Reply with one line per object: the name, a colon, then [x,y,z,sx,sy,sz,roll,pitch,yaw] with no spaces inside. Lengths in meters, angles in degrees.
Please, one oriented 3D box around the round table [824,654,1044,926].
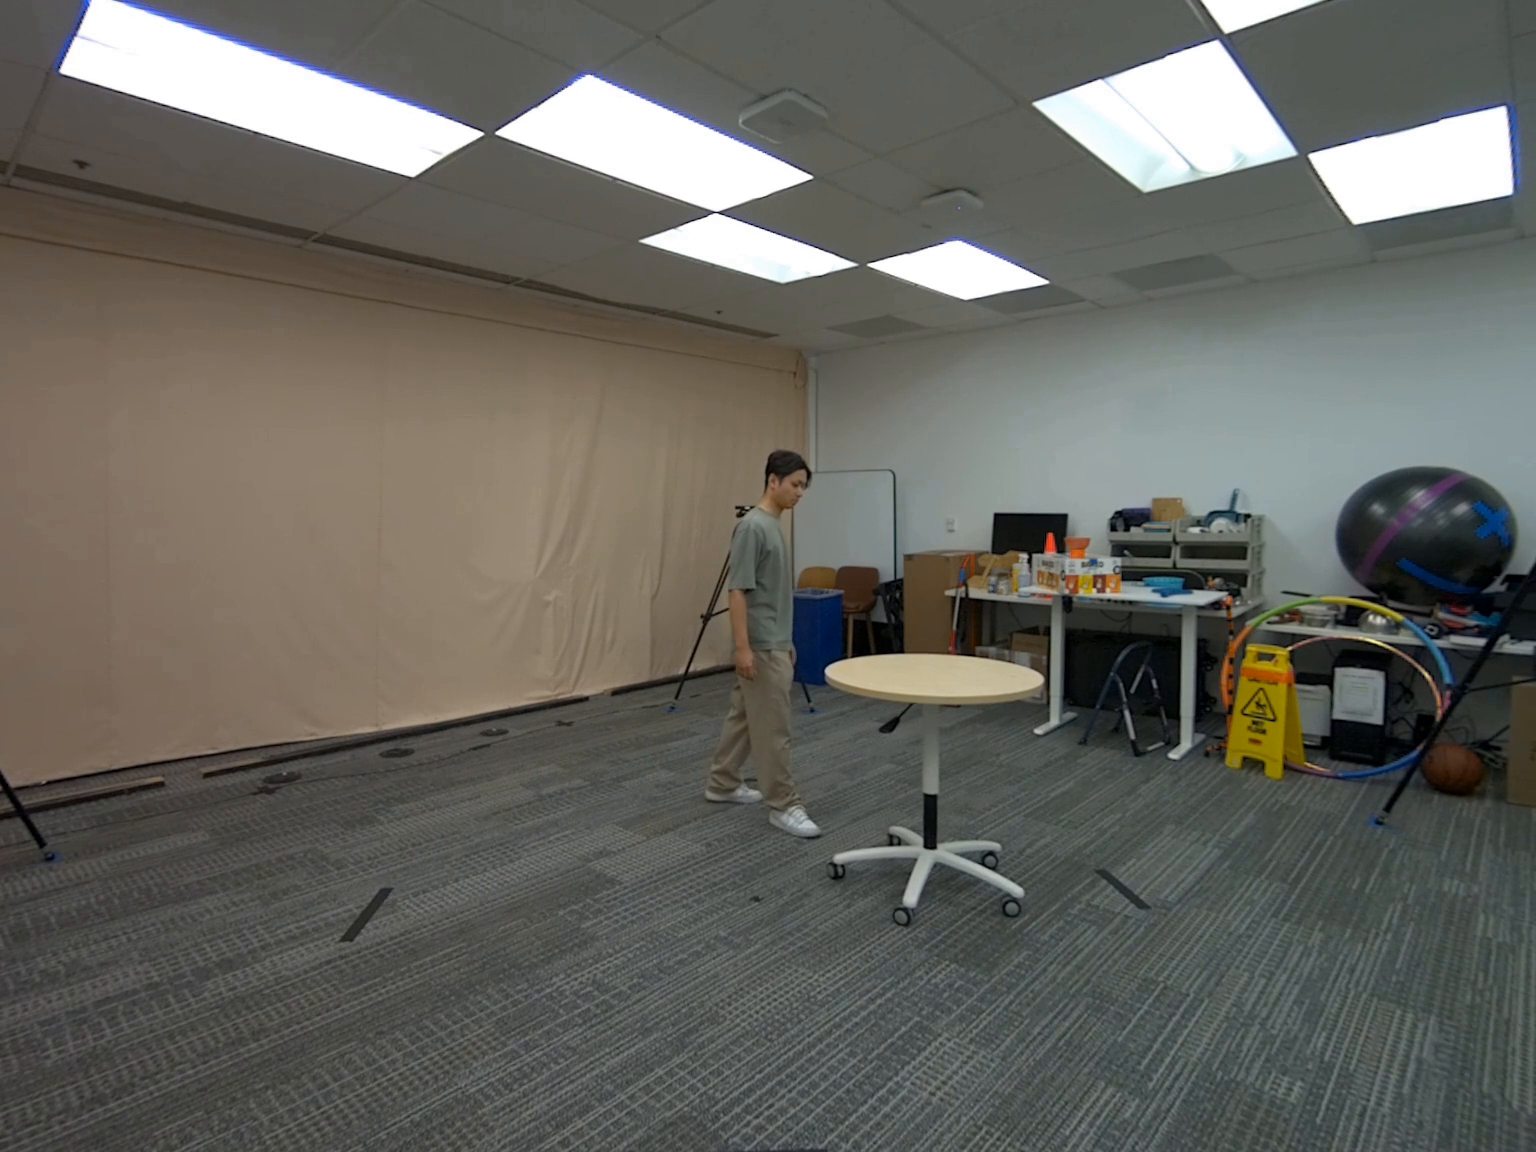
round table: [0.580,0.743,3.064,0.784,0.785,0.788,0,3,-2]
